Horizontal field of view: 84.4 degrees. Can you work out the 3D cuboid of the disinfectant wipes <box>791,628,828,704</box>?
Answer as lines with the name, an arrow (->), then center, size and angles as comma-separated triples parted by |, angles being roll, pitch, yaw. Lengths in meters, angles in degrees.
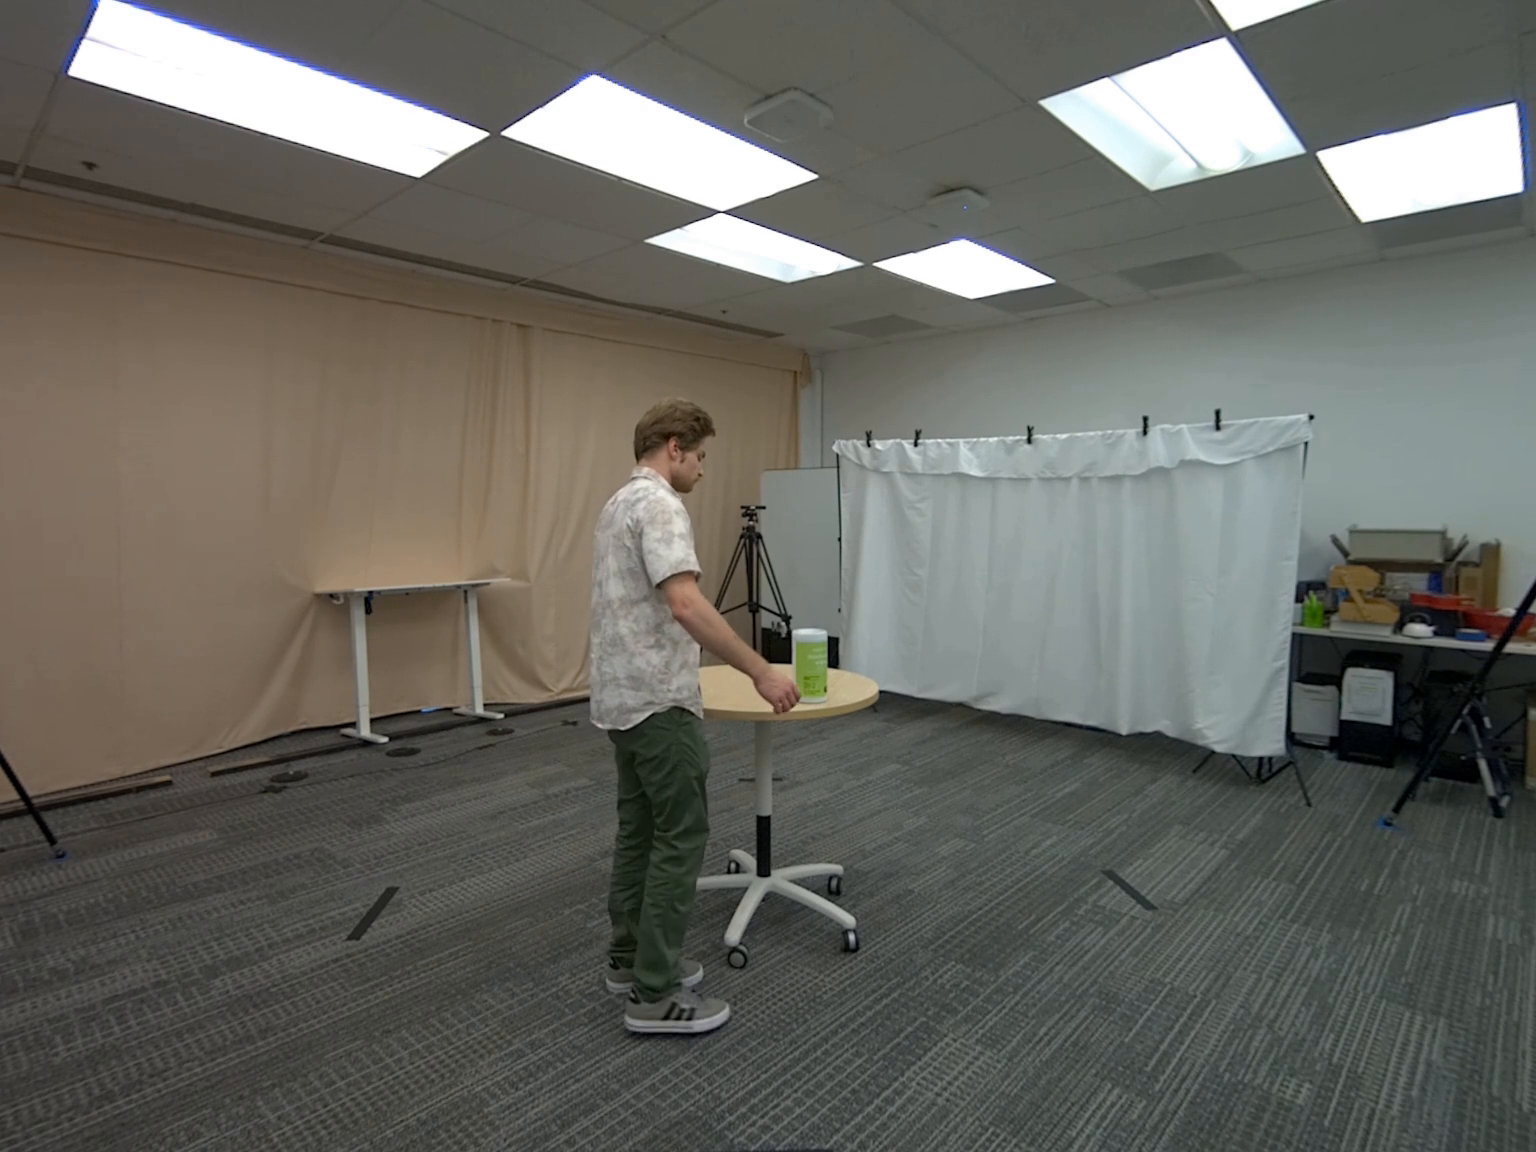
disinfectant wipes -> 0.133, 0.276, 2.580 | 0.117, 0.217, 0.118 | 2, 2, -2
